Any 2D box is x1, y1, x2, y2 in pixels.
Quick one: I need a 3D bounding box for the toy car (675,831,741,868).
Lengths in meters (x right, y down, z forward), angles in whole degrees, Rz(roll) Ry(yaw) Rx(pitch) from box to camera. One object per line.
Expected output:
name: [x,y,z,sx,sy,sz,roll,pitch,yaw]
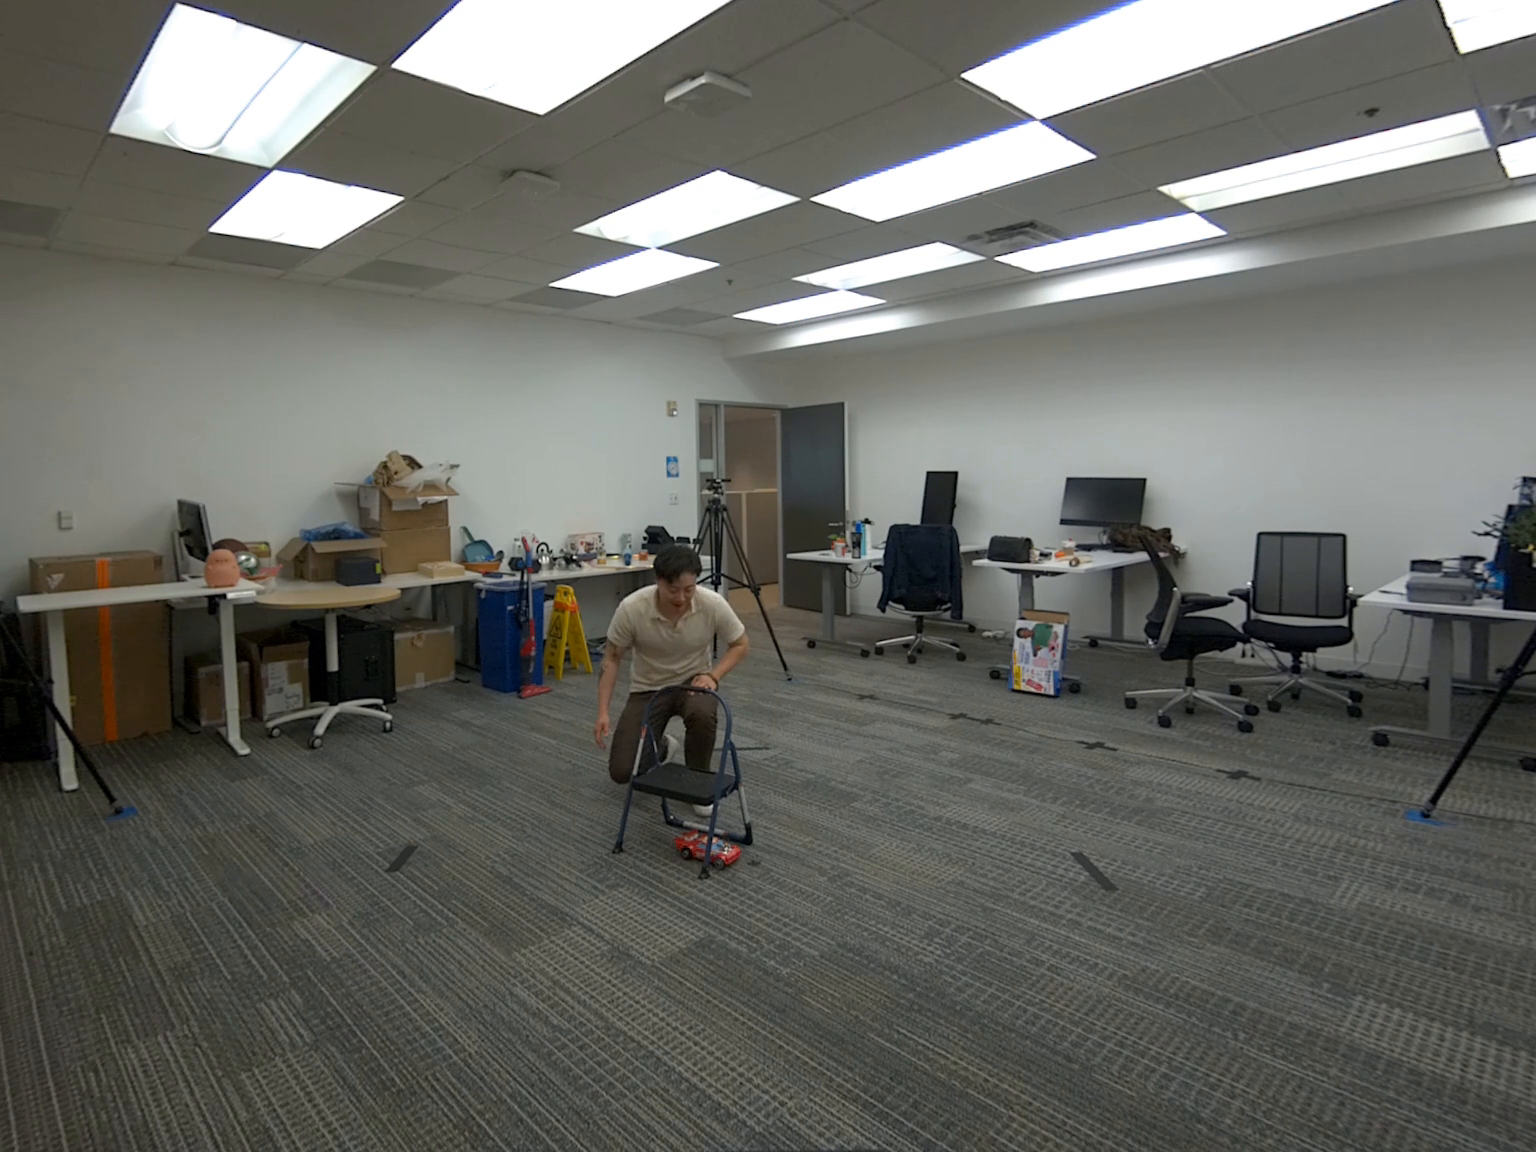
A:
toy car: [-0.227,1.014,3.154,0.262,0.082,0.127,14,13,31]
